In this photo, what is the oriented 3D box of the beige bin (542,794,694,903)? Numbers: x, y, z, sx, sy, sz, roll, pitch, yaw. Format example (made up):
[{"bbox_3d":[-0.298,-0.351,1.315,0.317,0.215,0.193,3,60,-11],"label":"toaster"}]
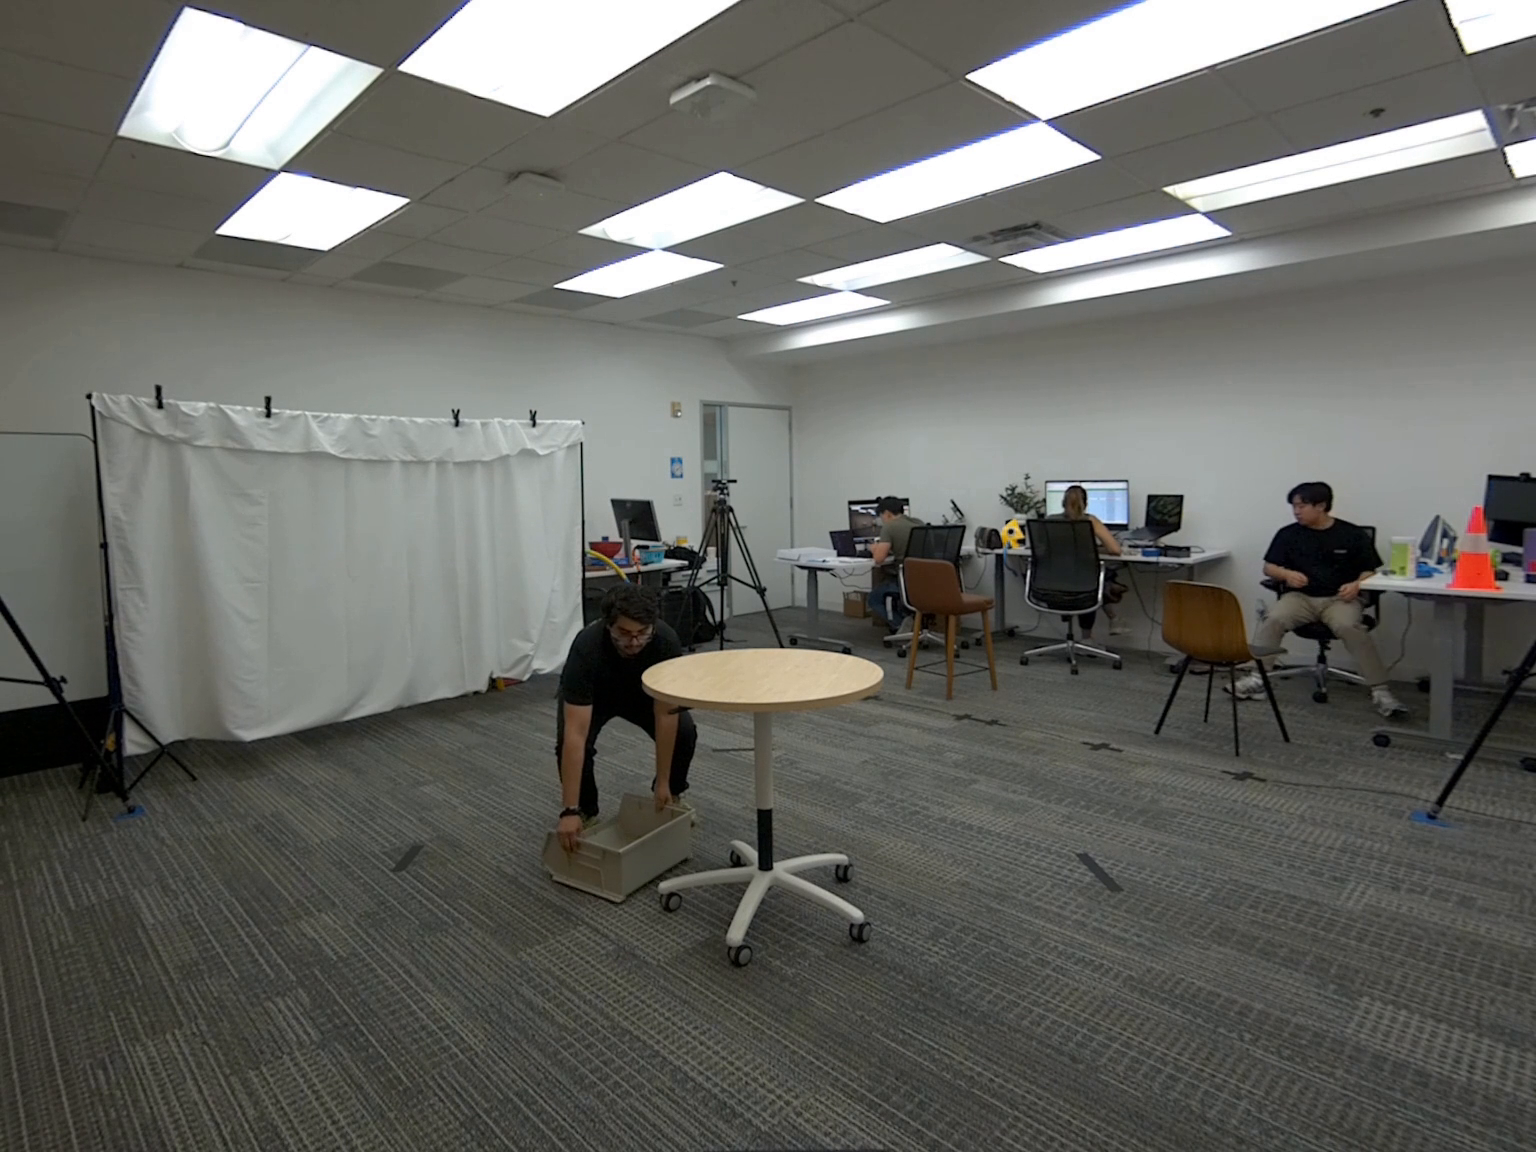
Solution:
[{"bbox_3d":[-0.528,0.961,3.082,0.388,0.187,0.413,5,10,32],"label":"beige bin"}]
